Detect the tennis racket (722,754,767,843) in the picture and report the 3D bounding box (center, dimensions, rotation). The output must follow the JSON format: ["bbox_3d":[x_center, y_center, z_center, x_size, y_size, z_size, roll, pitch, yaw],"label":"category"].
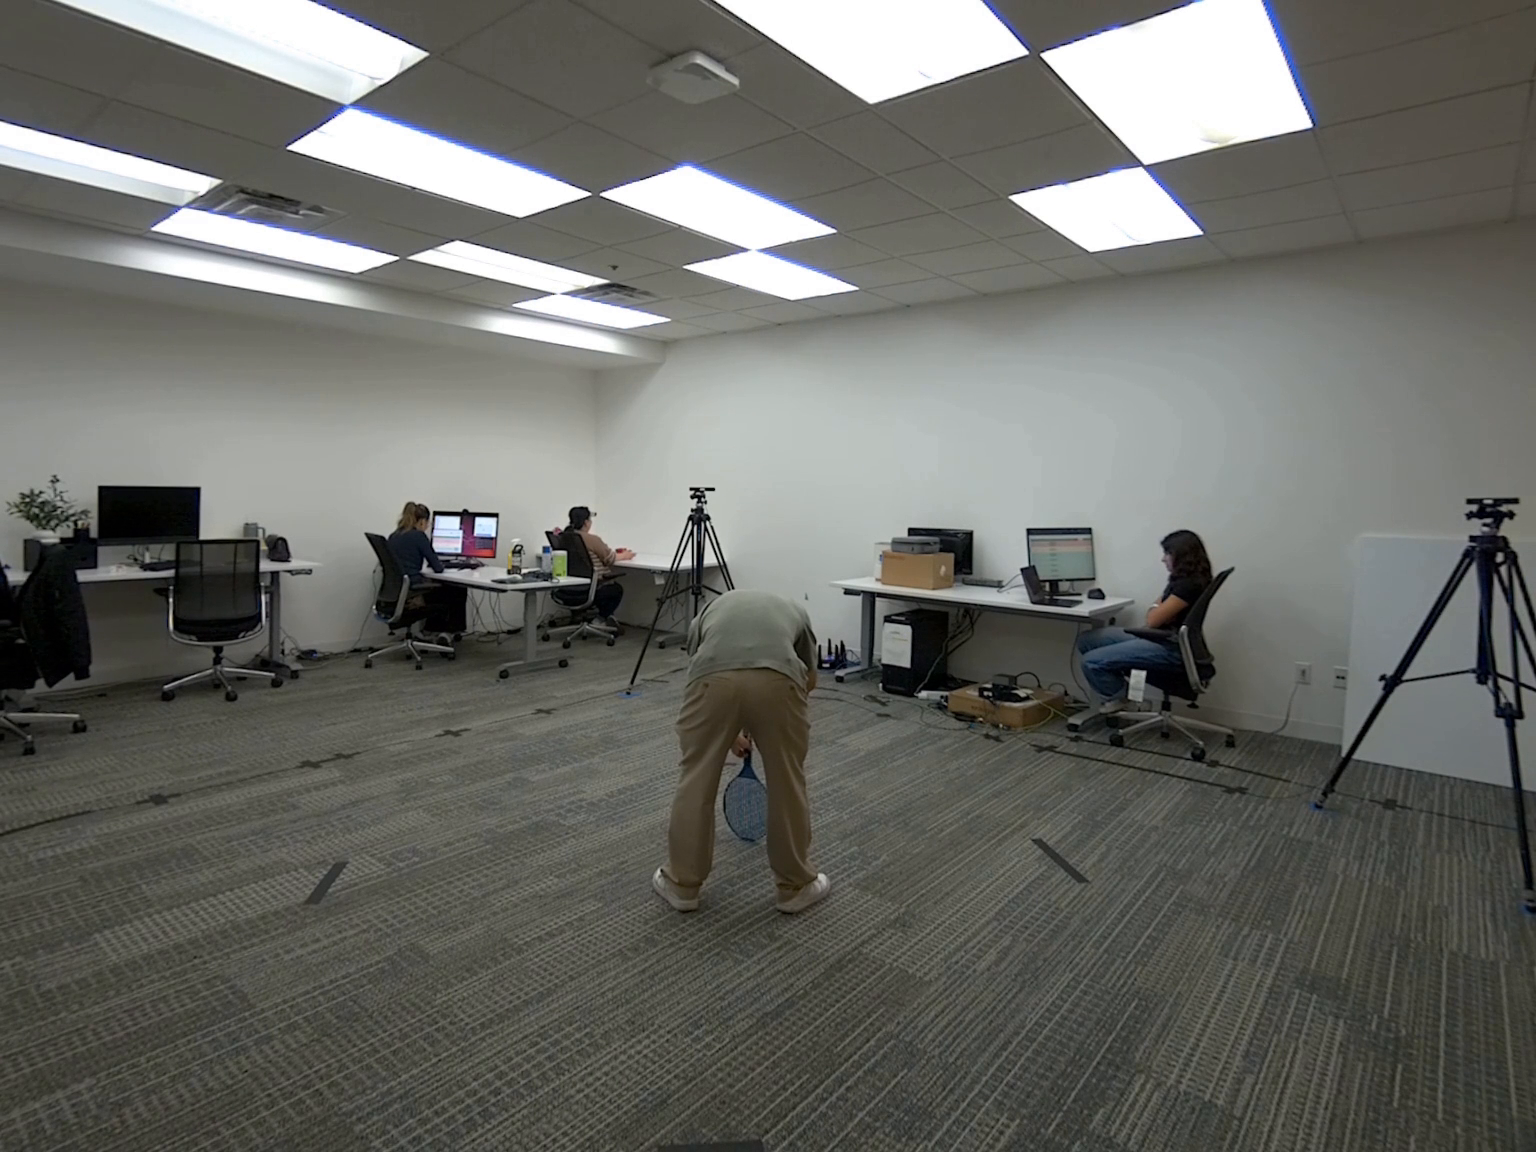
[{"bbox_3d":[-0.088,0.829,3.342,0.219,0.430,0.031,1,6,25],"label":"tennis racket"}]
